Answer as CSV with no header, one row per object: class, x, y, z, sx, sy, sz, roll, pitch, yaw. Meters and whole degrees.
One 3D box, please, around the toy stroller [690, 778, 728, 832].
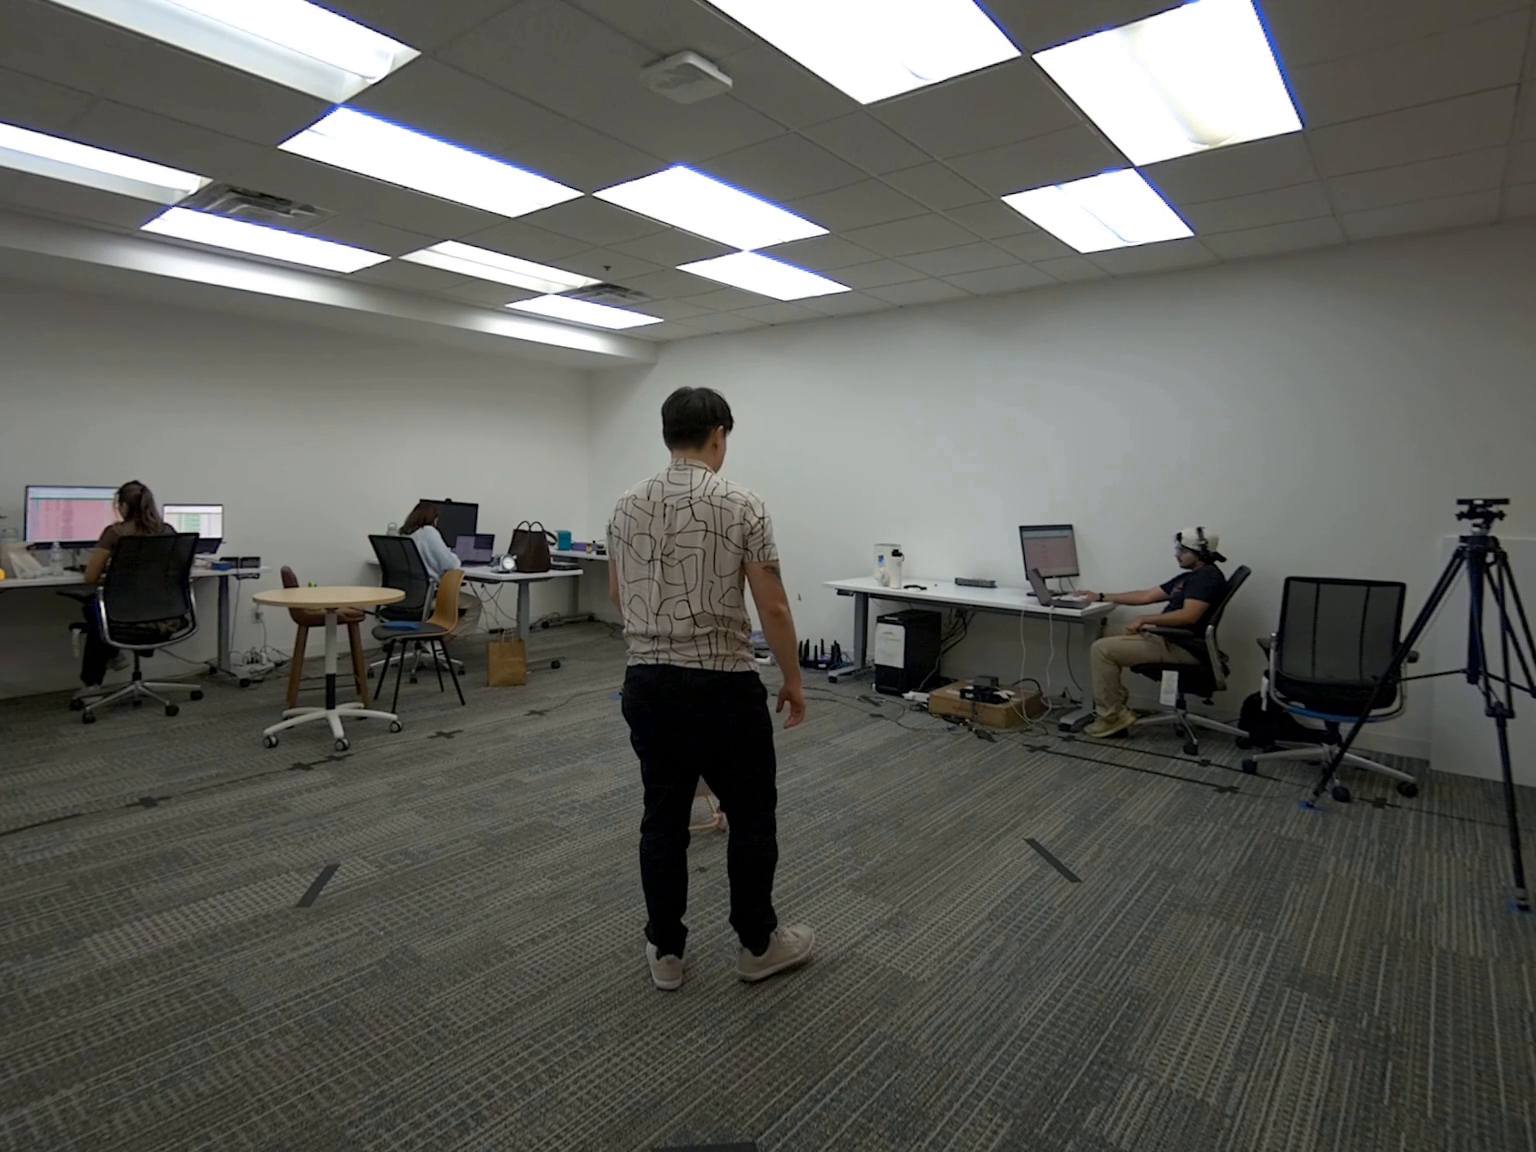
toy stroller,-0.323,0.804,3.478,0.276,0.527,0.353,0,20,-20
